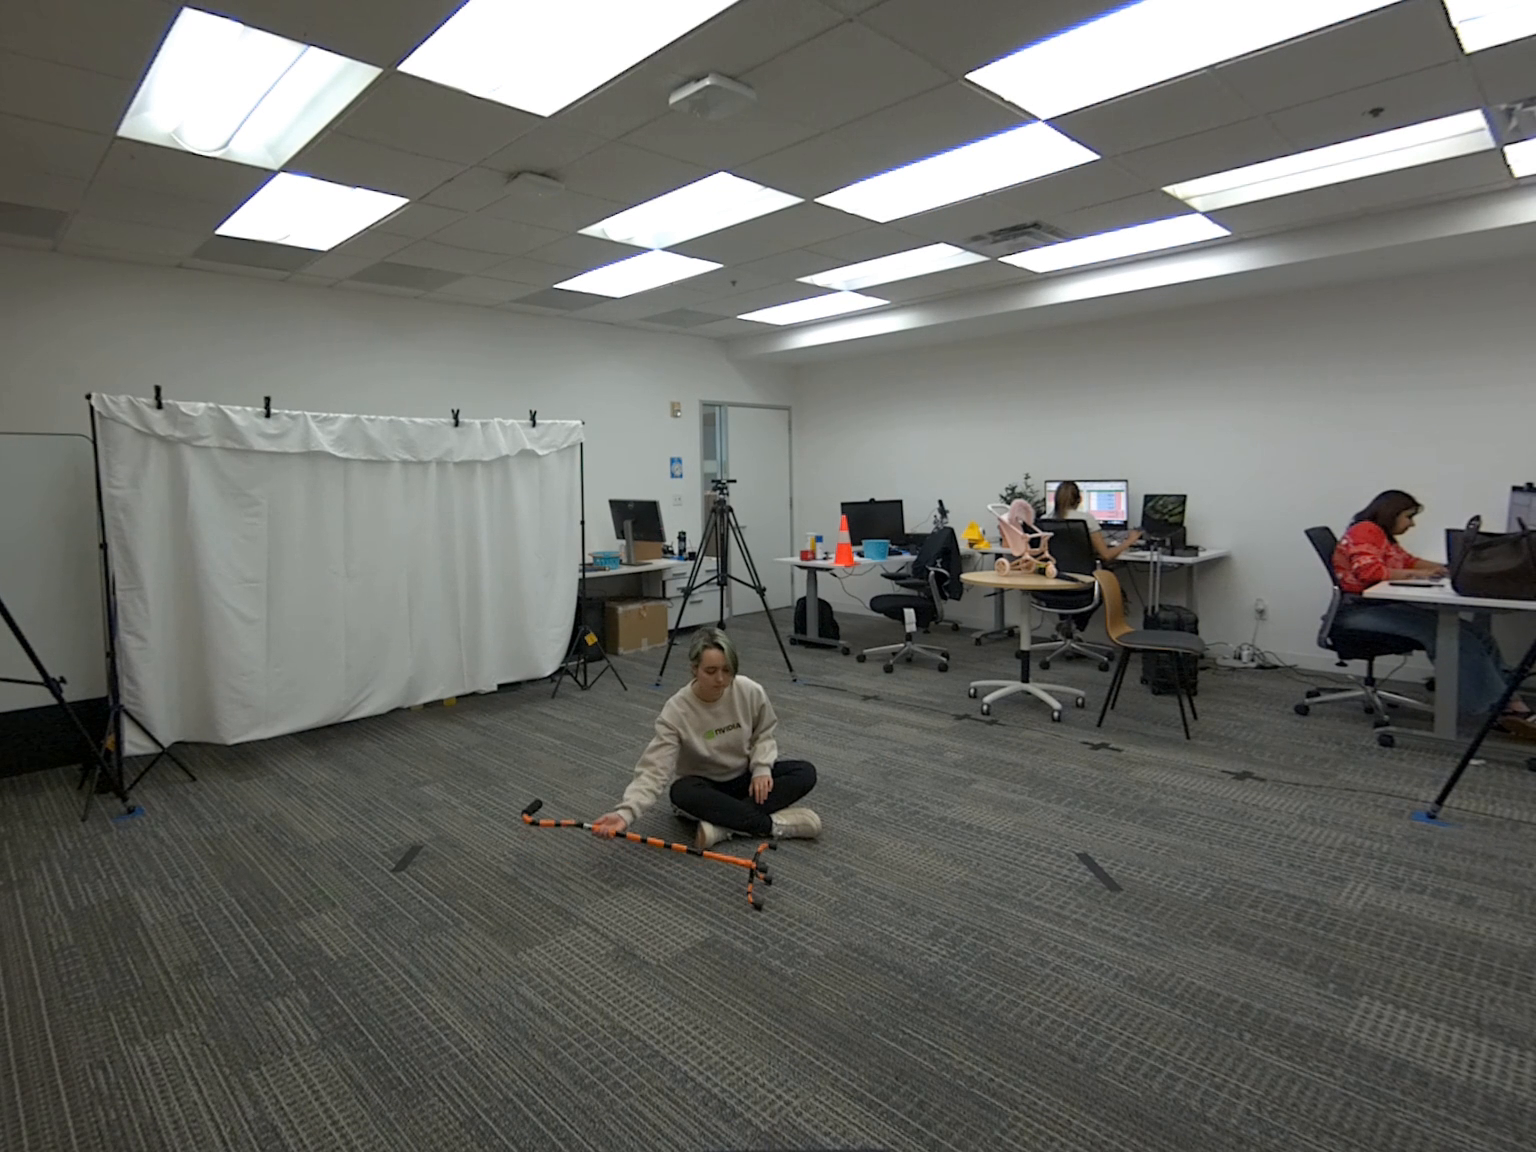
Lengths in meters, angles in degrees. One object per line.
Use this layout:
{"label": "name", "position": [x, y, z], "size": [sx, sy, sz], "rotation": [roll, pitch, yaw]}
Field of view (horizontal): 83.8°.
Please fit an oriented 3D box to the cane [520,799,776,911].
{"label": "cane", "position": [-0.432, 0.922, 2.955], "size": [0.922, 0.151, 0.204], "rotation": [9, 8, 14]}
